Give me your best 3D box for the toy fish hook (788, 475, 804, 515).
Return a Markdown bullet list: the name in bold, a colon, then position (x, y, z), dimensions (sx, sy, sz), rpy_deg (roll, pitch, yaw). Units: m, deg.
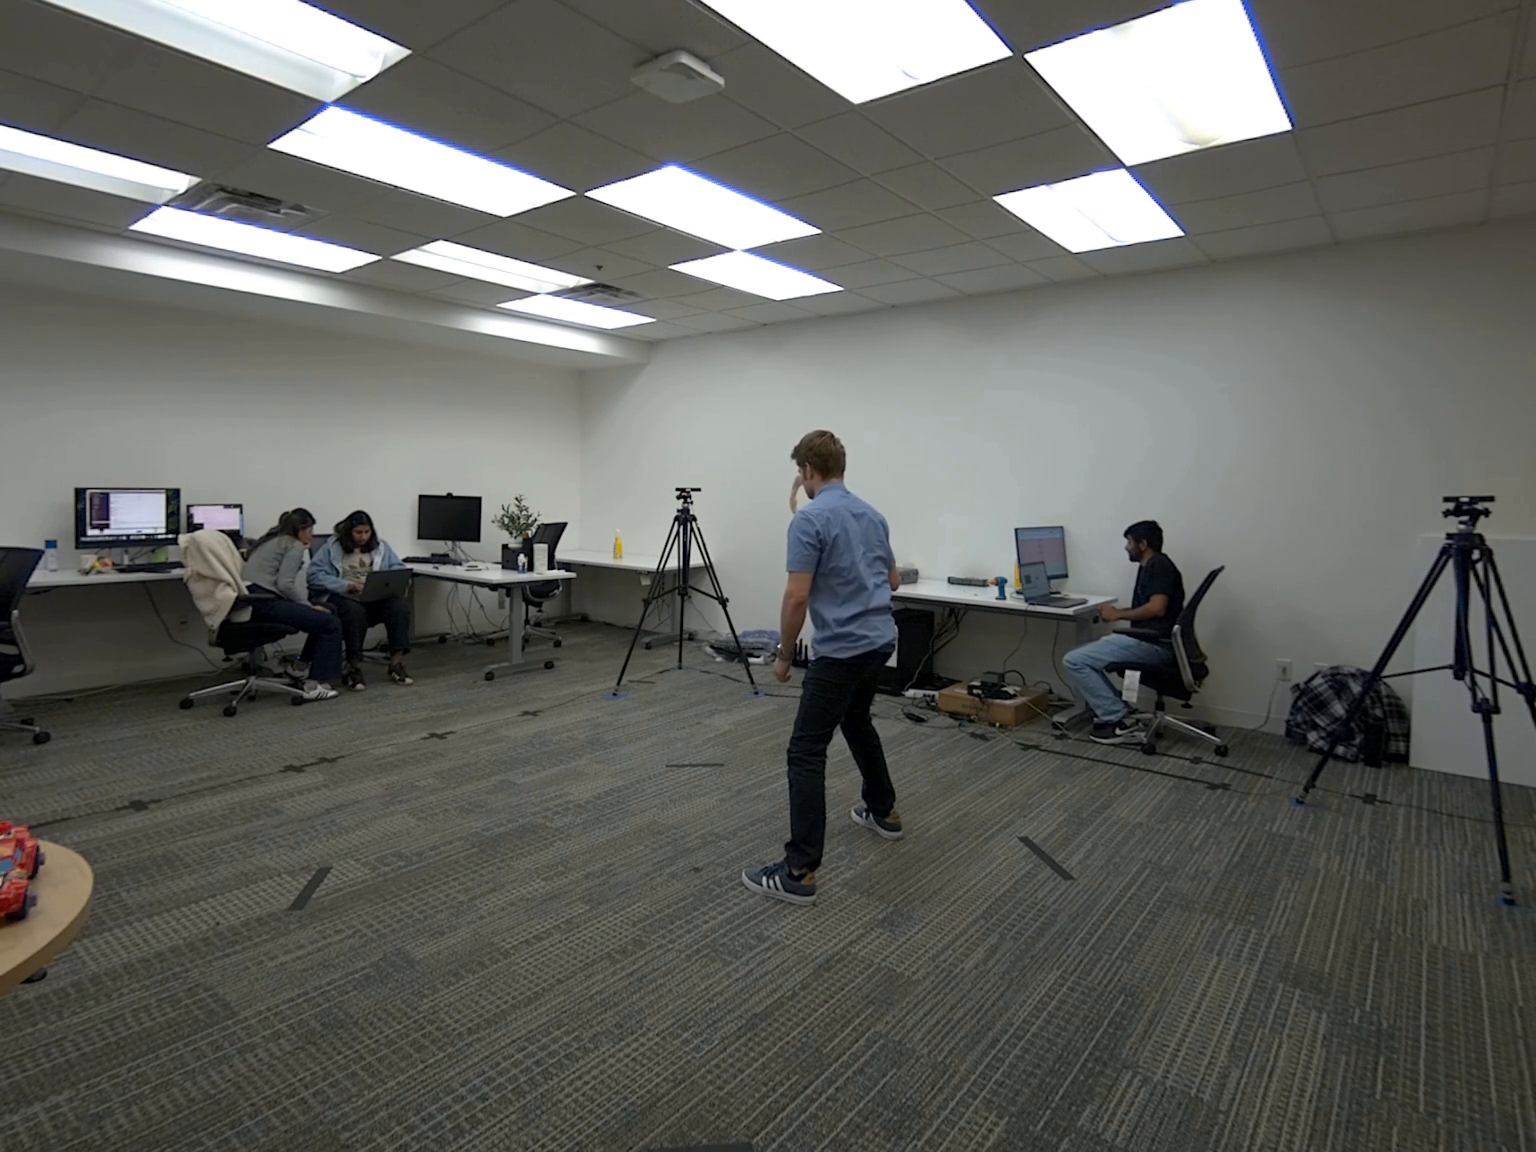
- **toy fish hook**: position (0.184, -0.212, 3.681), dimensions (0.047, 0.510, 0.230), rpy_deg (2, -8, -43)
